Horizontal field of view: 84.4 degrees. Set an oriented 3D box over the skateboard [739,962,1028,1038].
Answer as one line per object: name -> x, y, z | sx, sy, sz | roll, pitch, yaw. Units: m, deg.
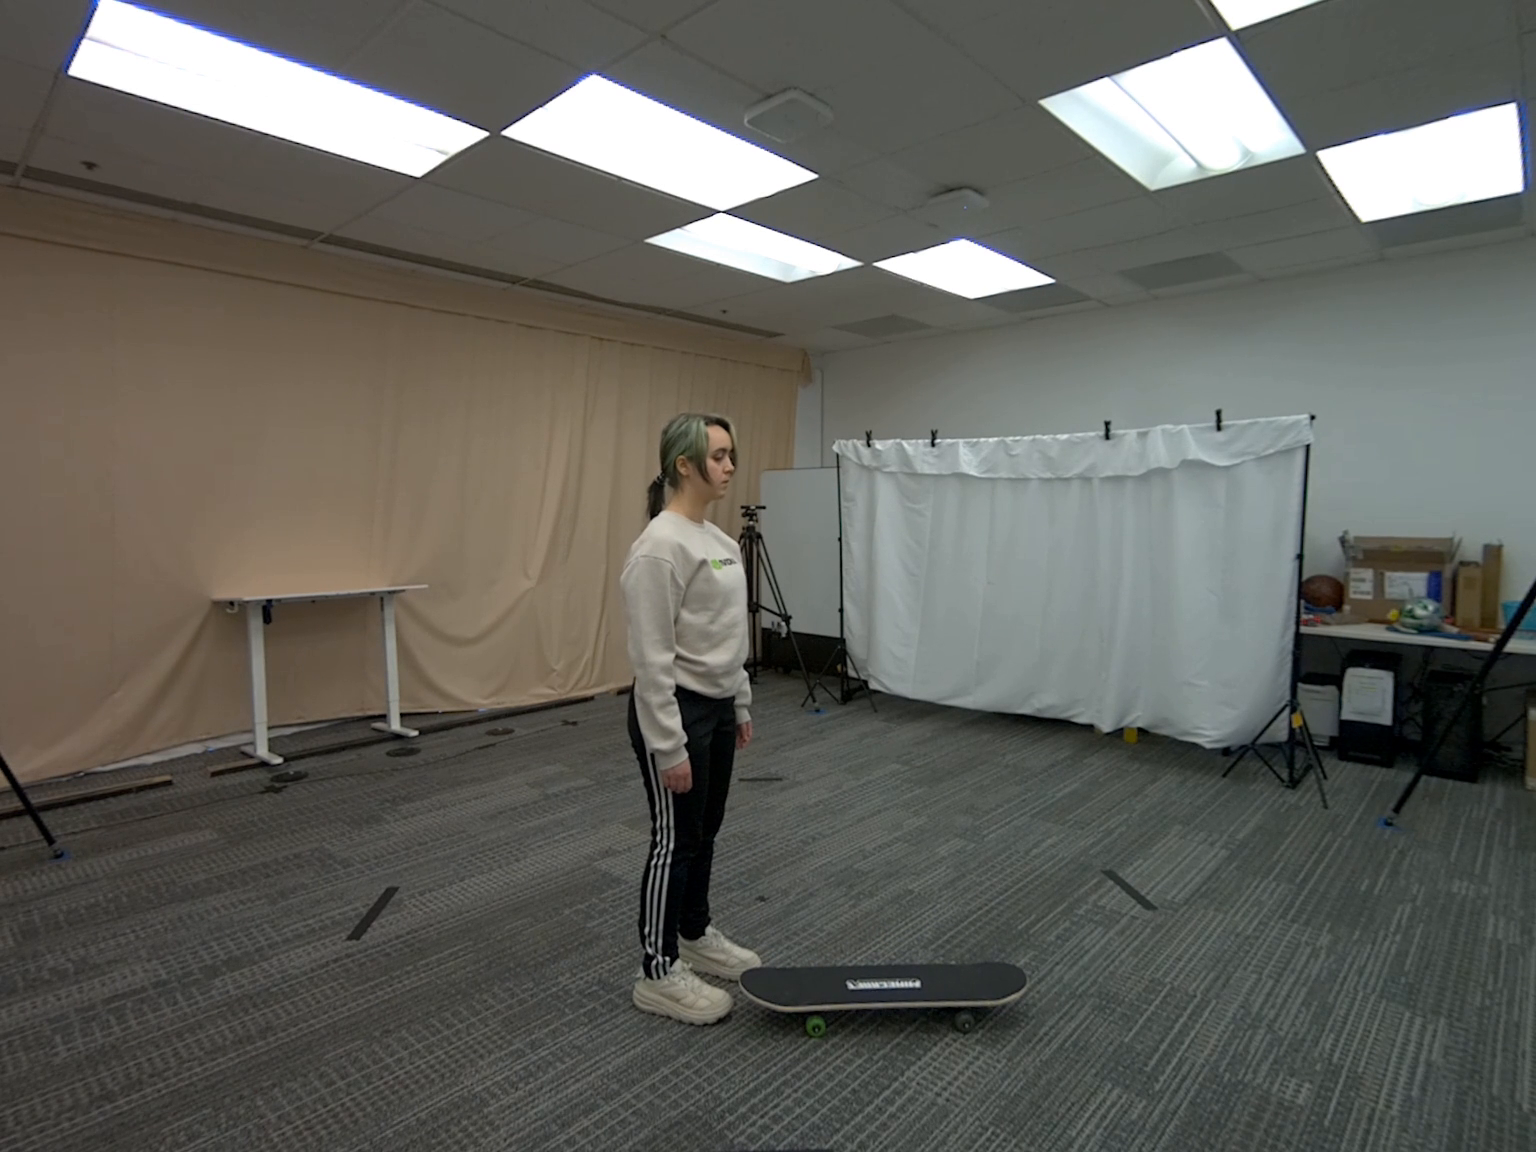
skateboard -> 0.319, 1.139, 2.298 | 0.783, 0.110, 0.194 | -1, 4, -3
